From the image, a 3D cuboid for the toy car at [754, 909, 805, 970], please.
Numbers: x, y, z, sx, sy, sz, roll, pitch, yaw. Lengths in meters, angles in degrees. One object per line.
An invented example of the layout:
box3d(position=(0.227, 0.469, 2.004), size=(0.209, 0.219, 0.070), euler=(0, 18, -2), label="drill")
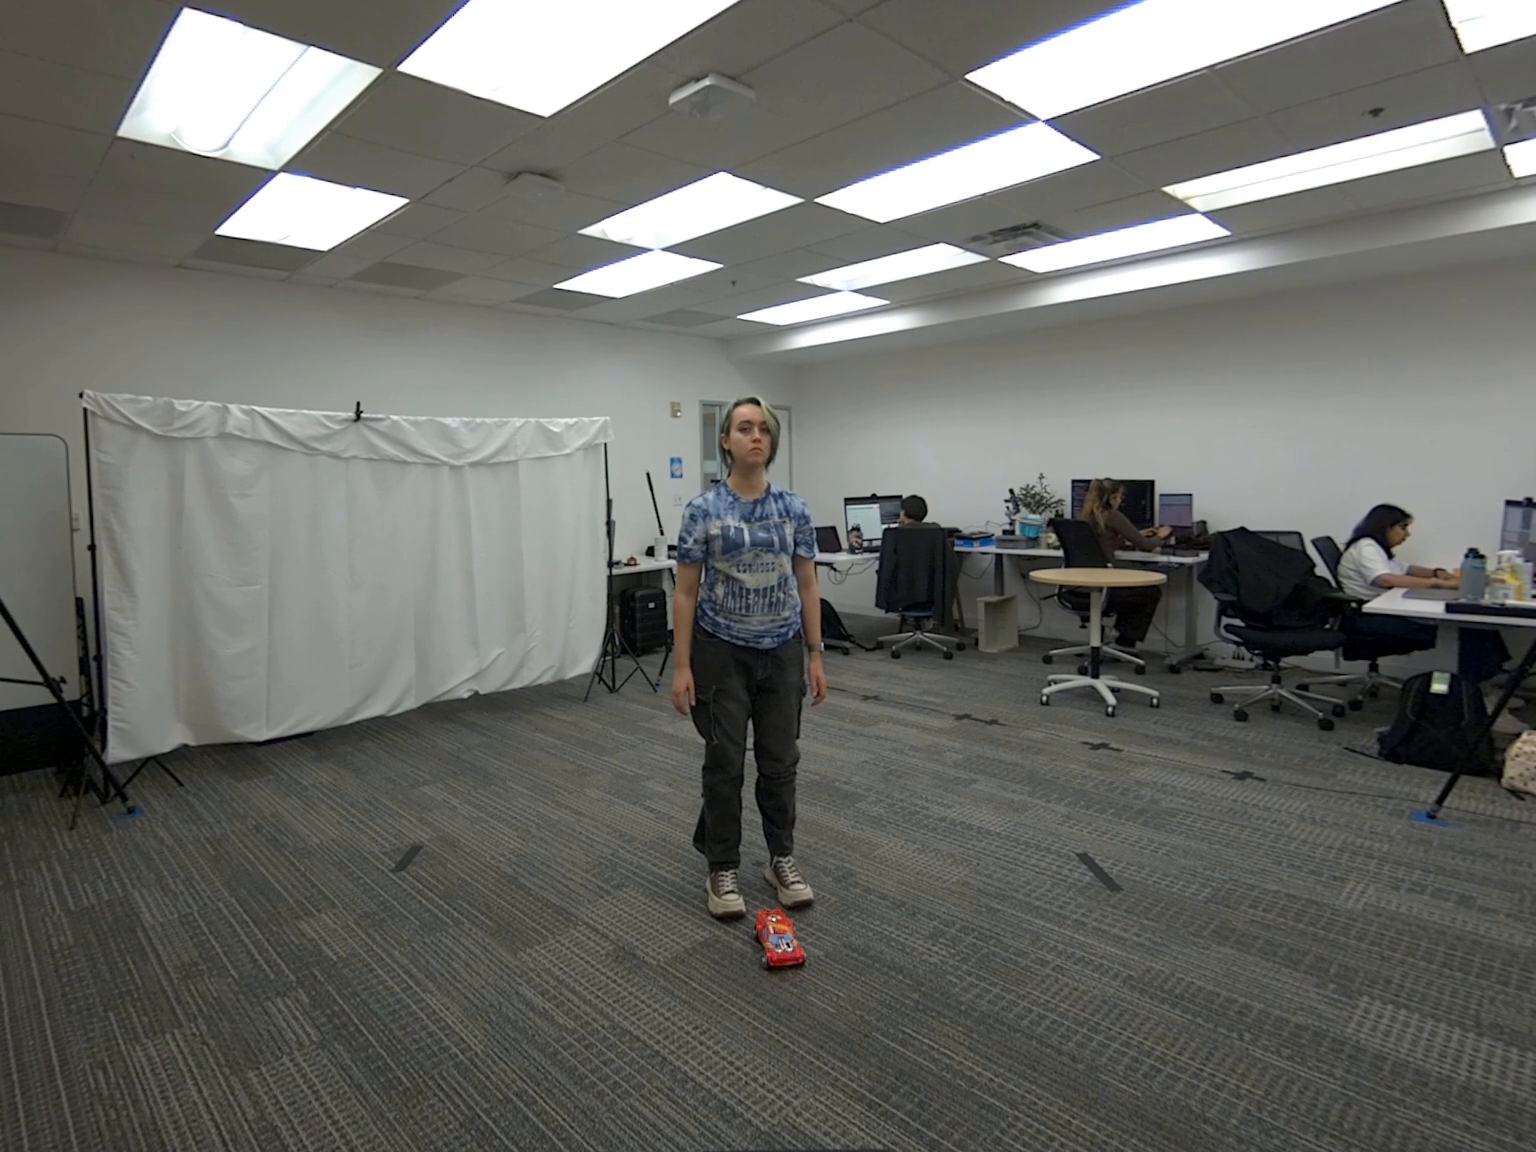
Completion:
box3d(position=(0.031, 1.082, 2.538), size=(0.129, 0.082, 0.260), euler=(-4, 16, -9), label="toy car")
